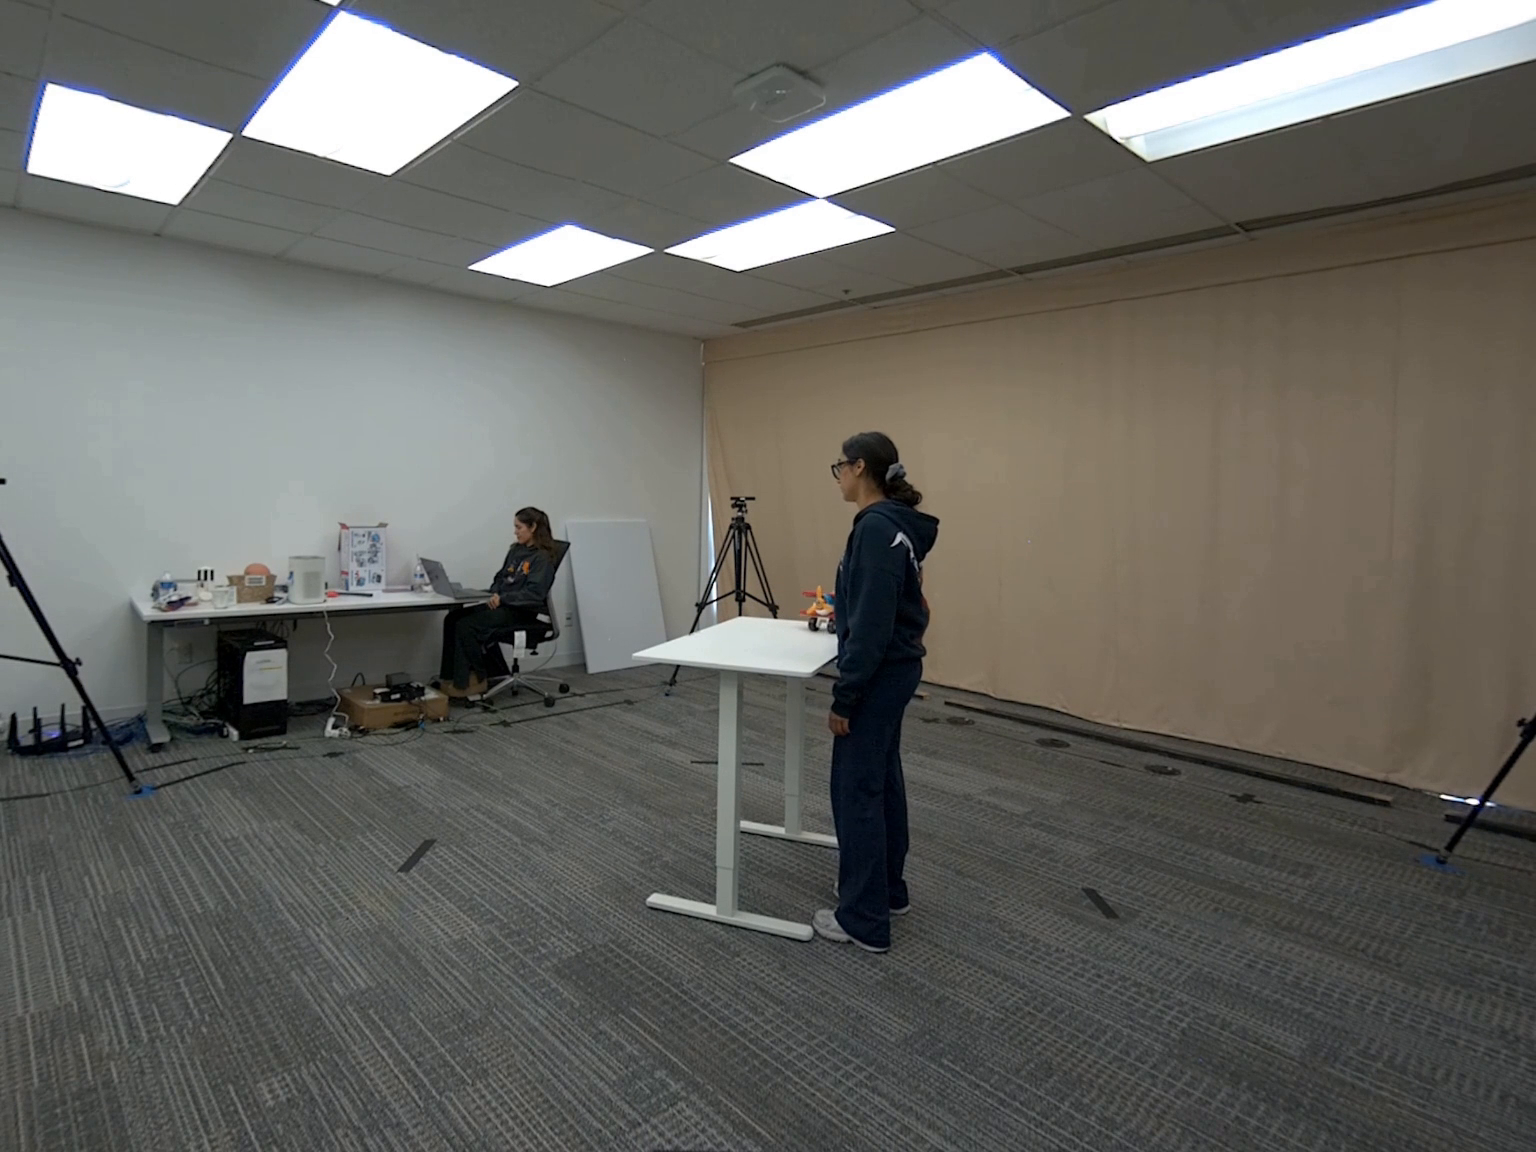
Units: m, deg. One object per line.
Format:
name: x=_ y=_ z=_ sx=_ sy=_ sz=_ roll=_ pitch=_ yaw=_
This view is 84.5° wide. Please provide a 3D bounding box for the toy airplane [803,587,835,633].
toy airplane: x=0.241 y=0.134 z=3.340 sx=0.253 sy=0.156 sz=0.258 roll=1 pitch=5 yaw=7
